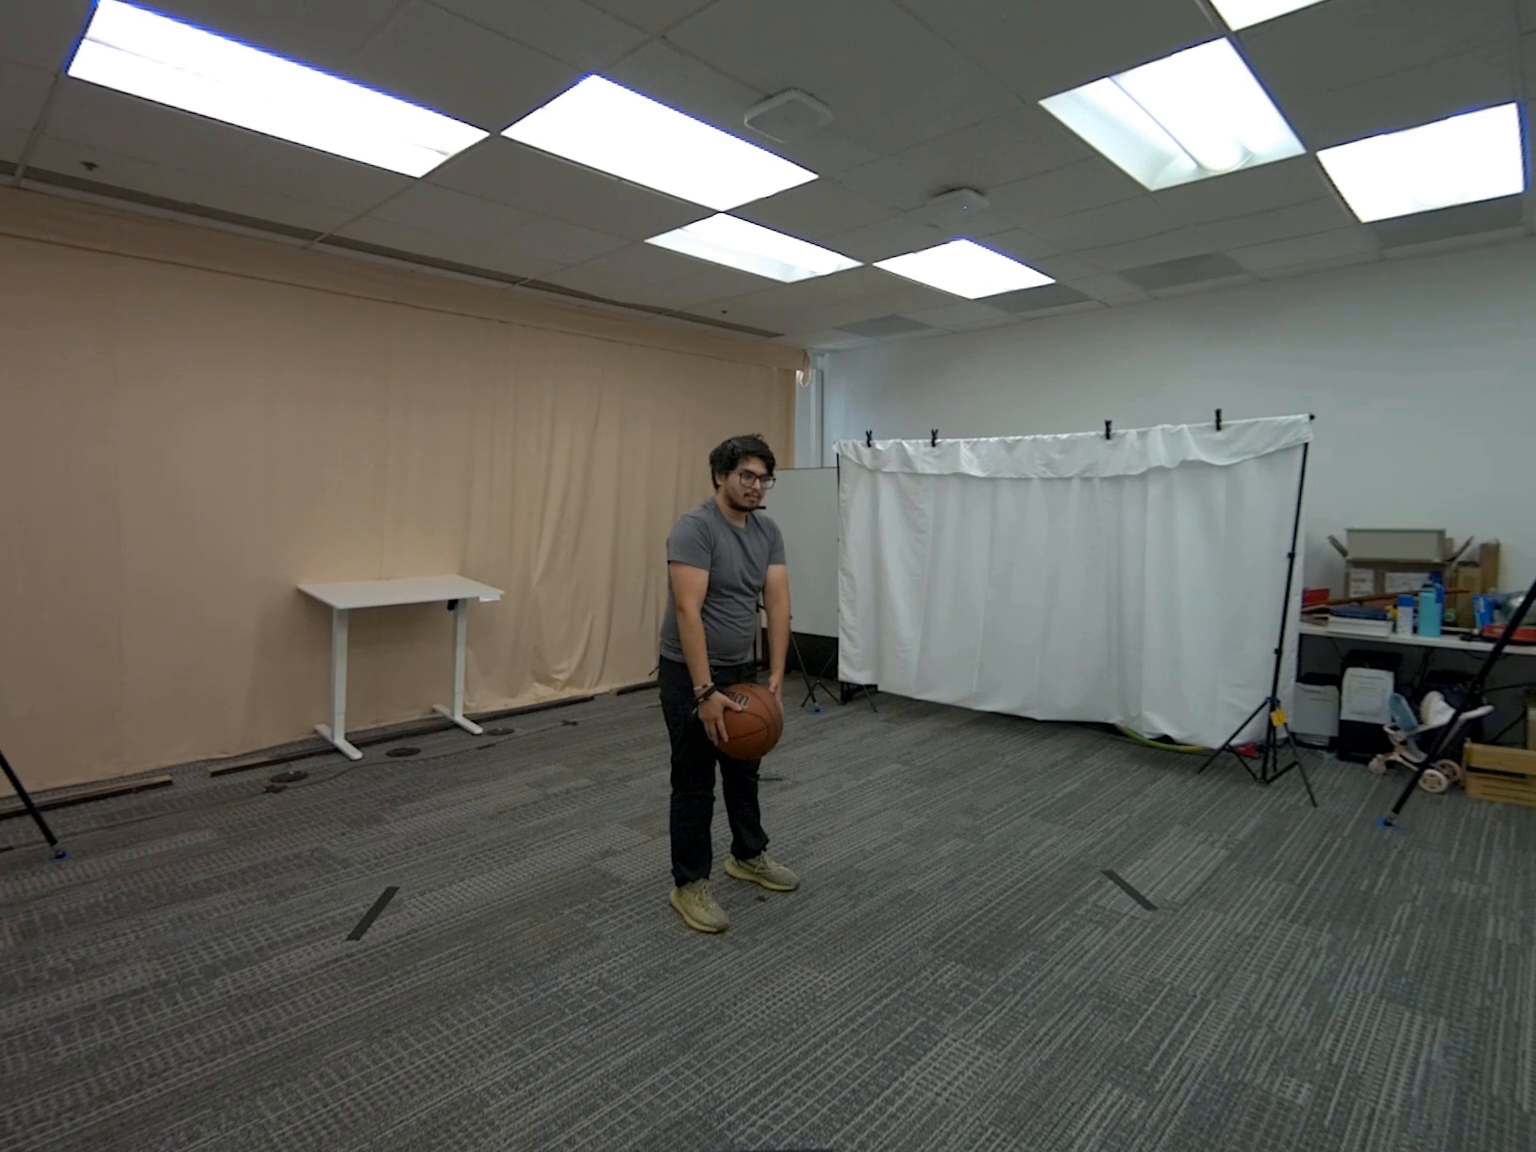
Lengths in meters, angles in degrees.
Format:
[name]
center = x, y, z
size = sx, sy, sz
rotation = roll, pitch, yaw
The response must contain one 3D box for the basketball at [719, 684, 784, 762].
[basketball]
center = -0.076, 0.452, 2.657
size = 0.236, 0.235, 0.237
rotation = 0, 4, -2
